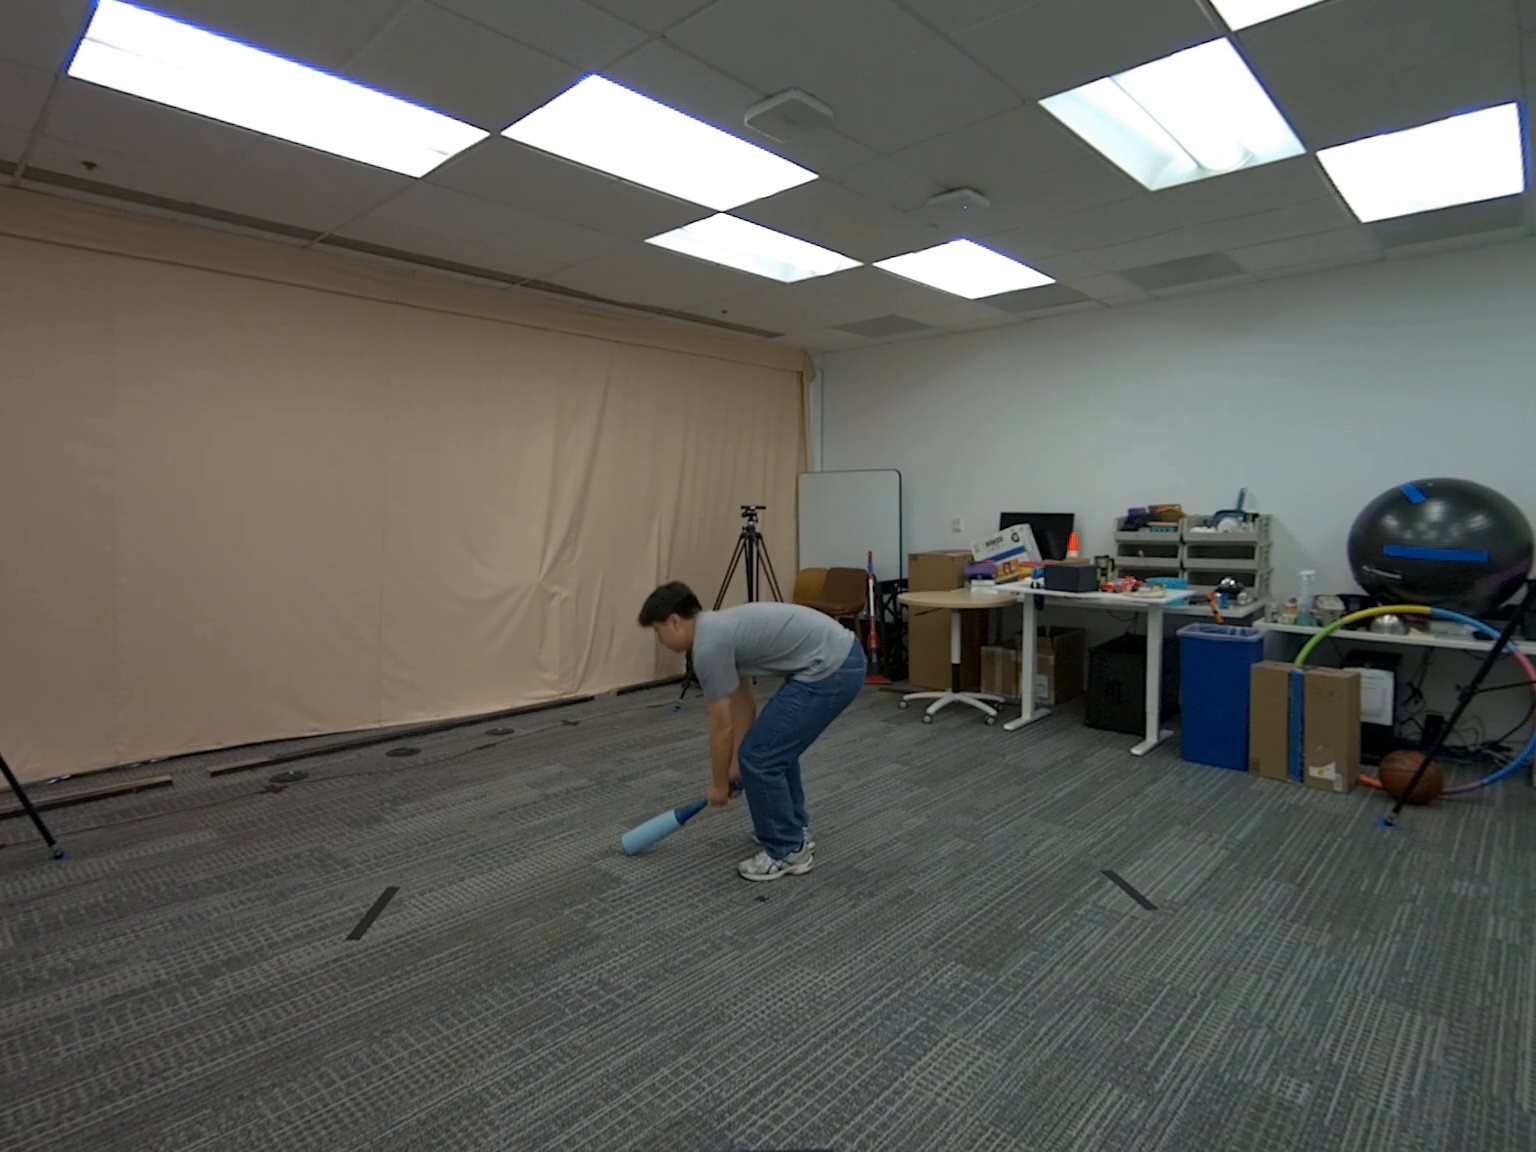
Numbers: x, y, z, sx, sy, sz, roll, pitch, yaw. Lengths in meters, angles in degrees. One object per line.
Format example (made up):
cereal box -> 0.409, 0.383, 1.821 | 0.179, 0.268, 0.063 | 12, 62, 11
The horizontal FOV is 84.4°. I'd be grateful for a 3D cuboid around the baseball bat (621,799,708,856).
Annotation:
baseball bat -> -0.330, 0.951, 3.341 | 0.545, 0.089, 0.089 | -26, 1, 7
